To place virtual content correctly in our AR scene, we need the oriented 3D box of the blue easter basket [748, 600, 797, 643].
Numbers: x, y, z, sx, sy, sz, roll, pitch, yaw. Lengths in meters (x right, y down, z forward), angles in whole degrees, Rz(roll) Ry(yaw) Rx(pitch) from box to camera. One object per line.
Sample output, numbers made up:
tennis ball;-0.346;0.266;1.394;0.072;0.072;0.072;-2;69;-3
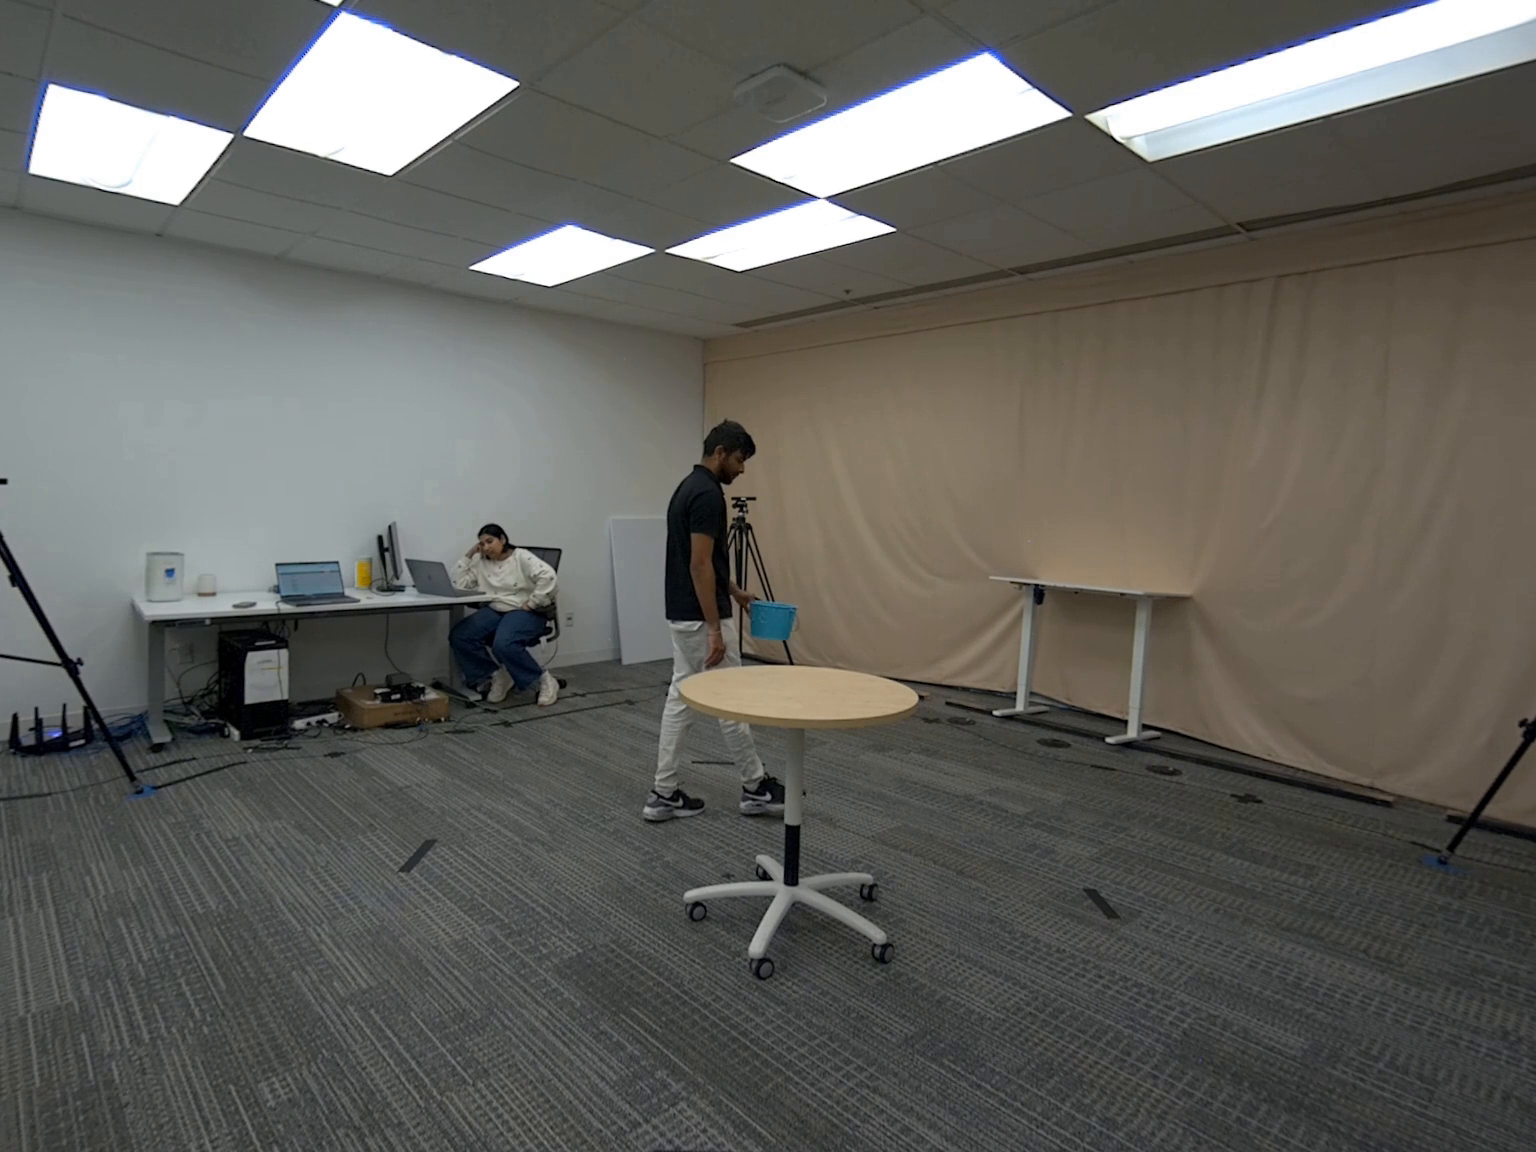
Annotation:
blue easter basket;0.015;0.196;3.846;0.243;0.155;0.244;6;3;-2
